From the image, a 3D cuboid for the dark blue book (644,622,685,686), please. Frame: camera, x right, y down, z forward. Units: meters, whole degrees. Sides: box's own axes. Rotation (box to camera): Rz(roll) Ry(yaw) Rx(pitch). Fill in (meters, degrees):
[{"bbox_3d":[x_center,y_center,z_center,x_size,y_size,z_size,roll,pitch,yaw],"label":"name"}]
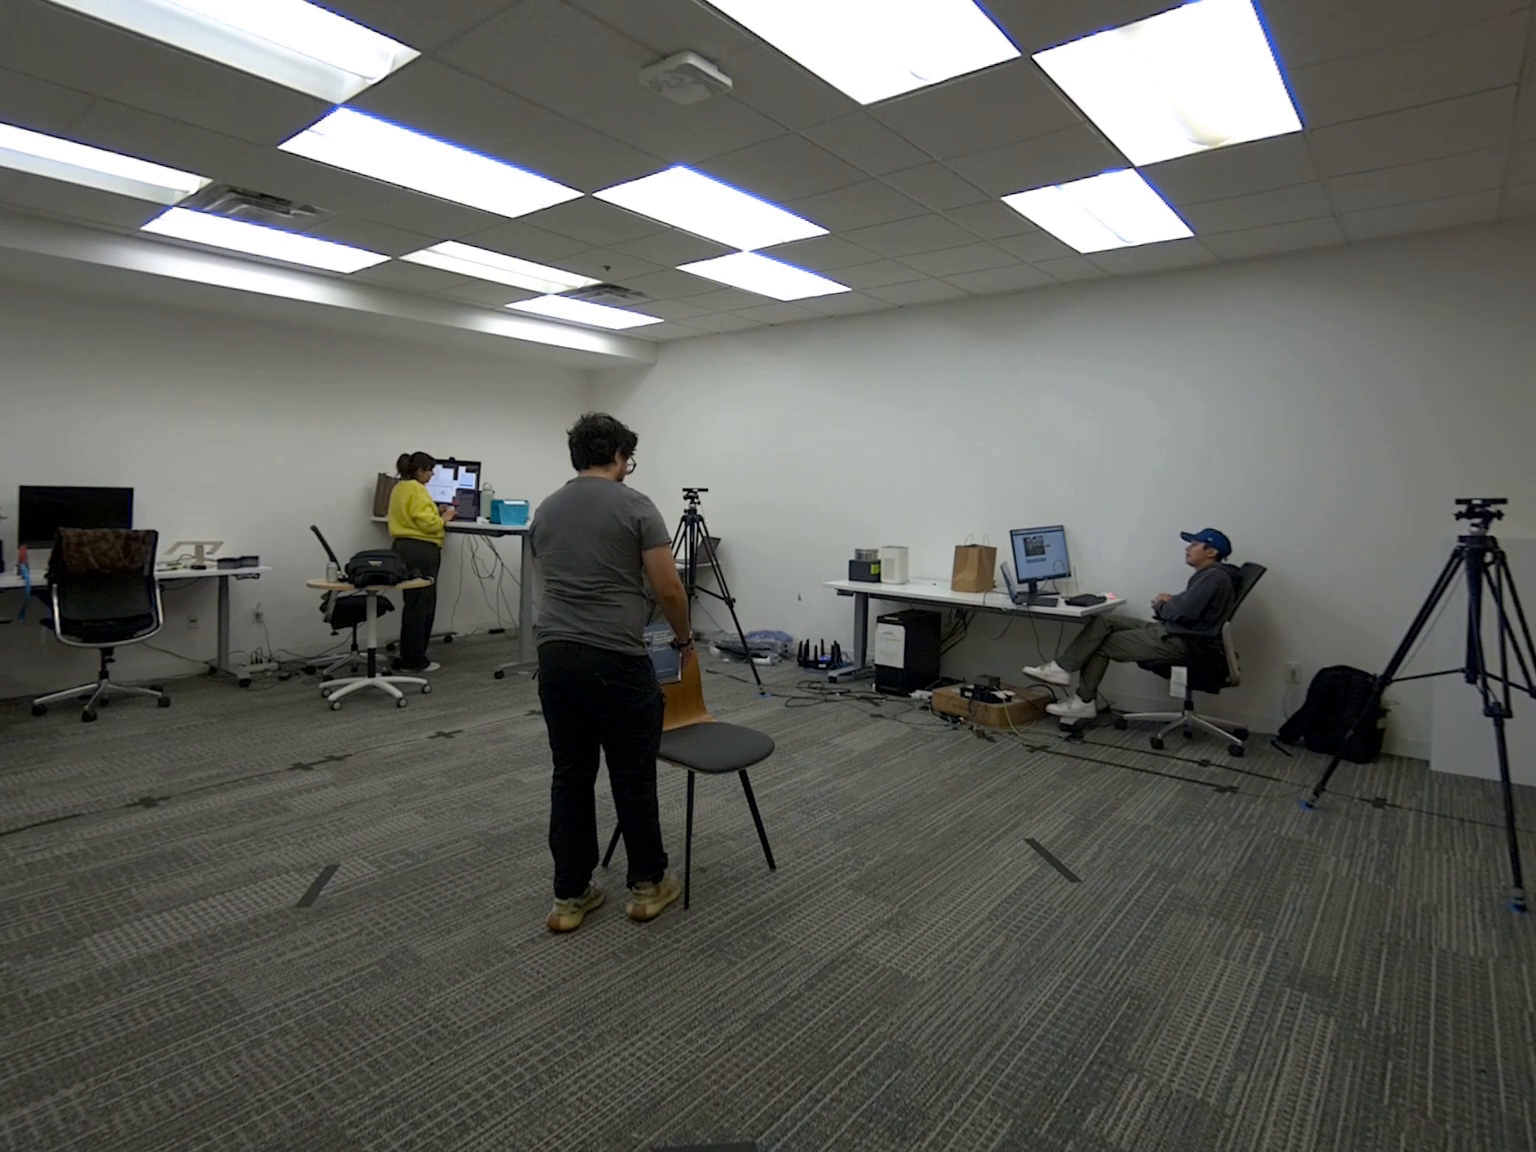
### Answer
[{"bbox_3d":[-0.381,0.276,2.976,0.165,0.043,0.252,-11,43,8],"label":"dark blue book"}]
